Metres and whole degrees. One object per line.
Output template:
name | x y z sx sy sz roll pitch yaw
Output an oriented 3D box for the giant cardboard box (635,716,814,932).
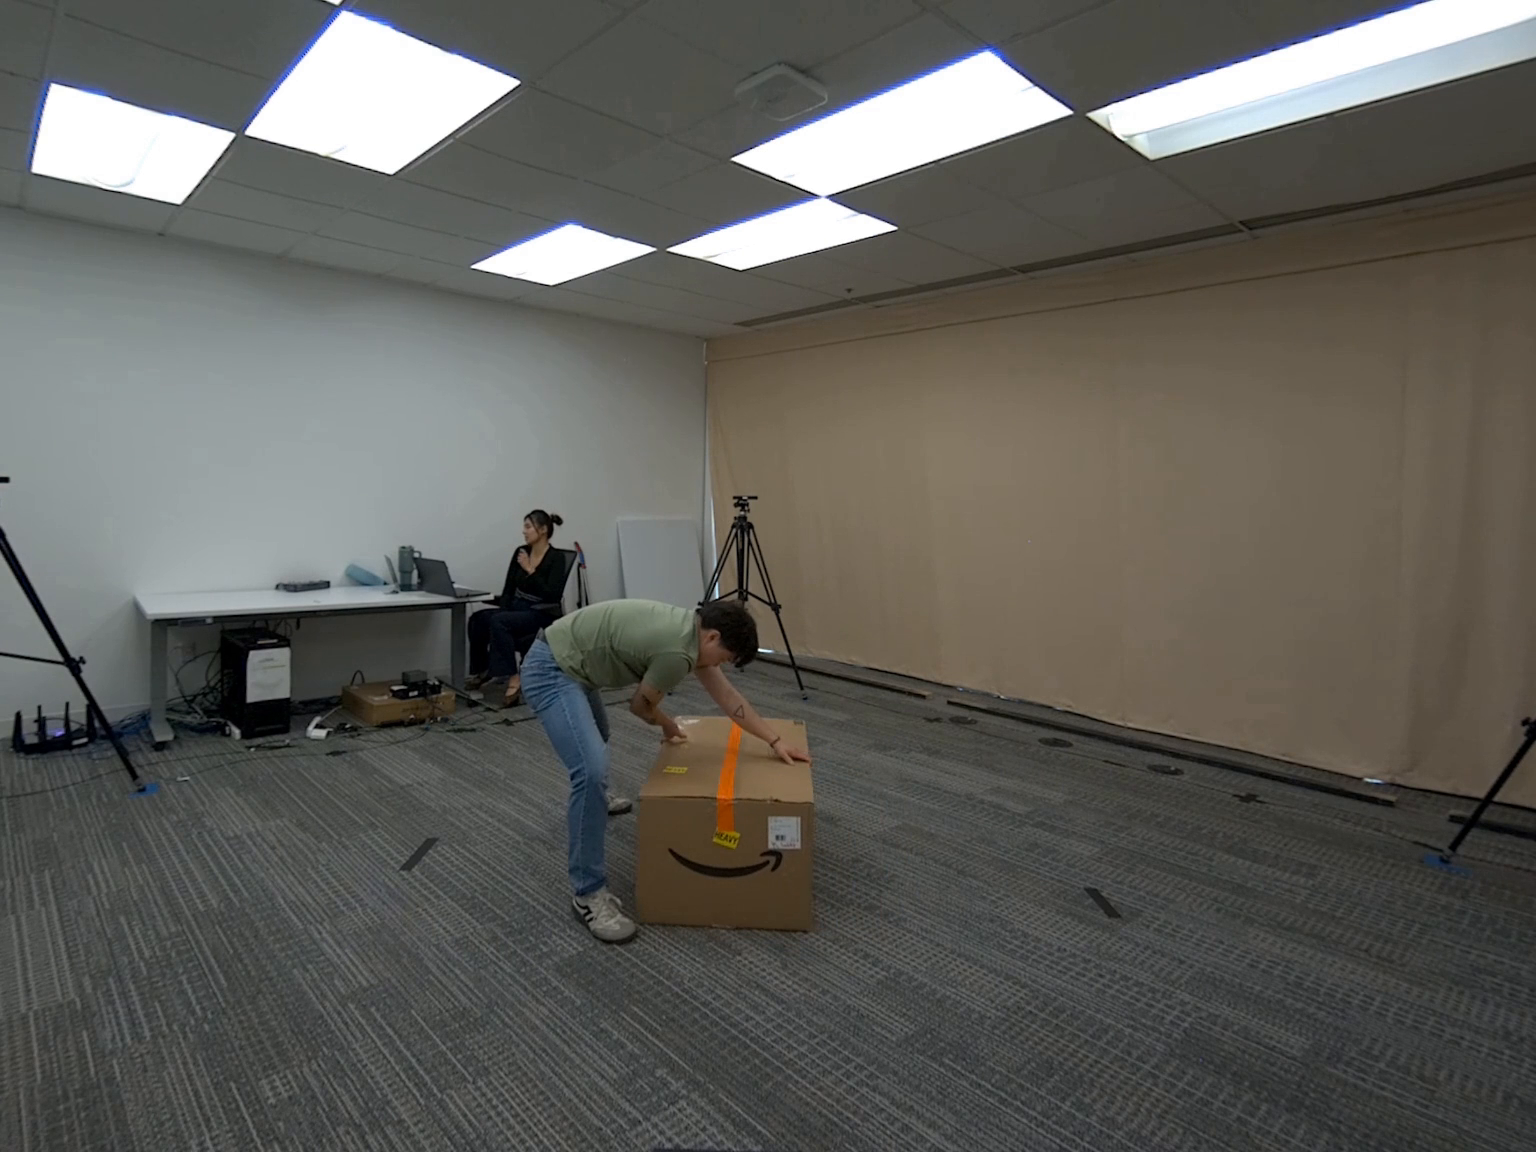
giant cardboard box | -0.132 0.880 3.211 0.578 0.425 1.028 0 5 1
